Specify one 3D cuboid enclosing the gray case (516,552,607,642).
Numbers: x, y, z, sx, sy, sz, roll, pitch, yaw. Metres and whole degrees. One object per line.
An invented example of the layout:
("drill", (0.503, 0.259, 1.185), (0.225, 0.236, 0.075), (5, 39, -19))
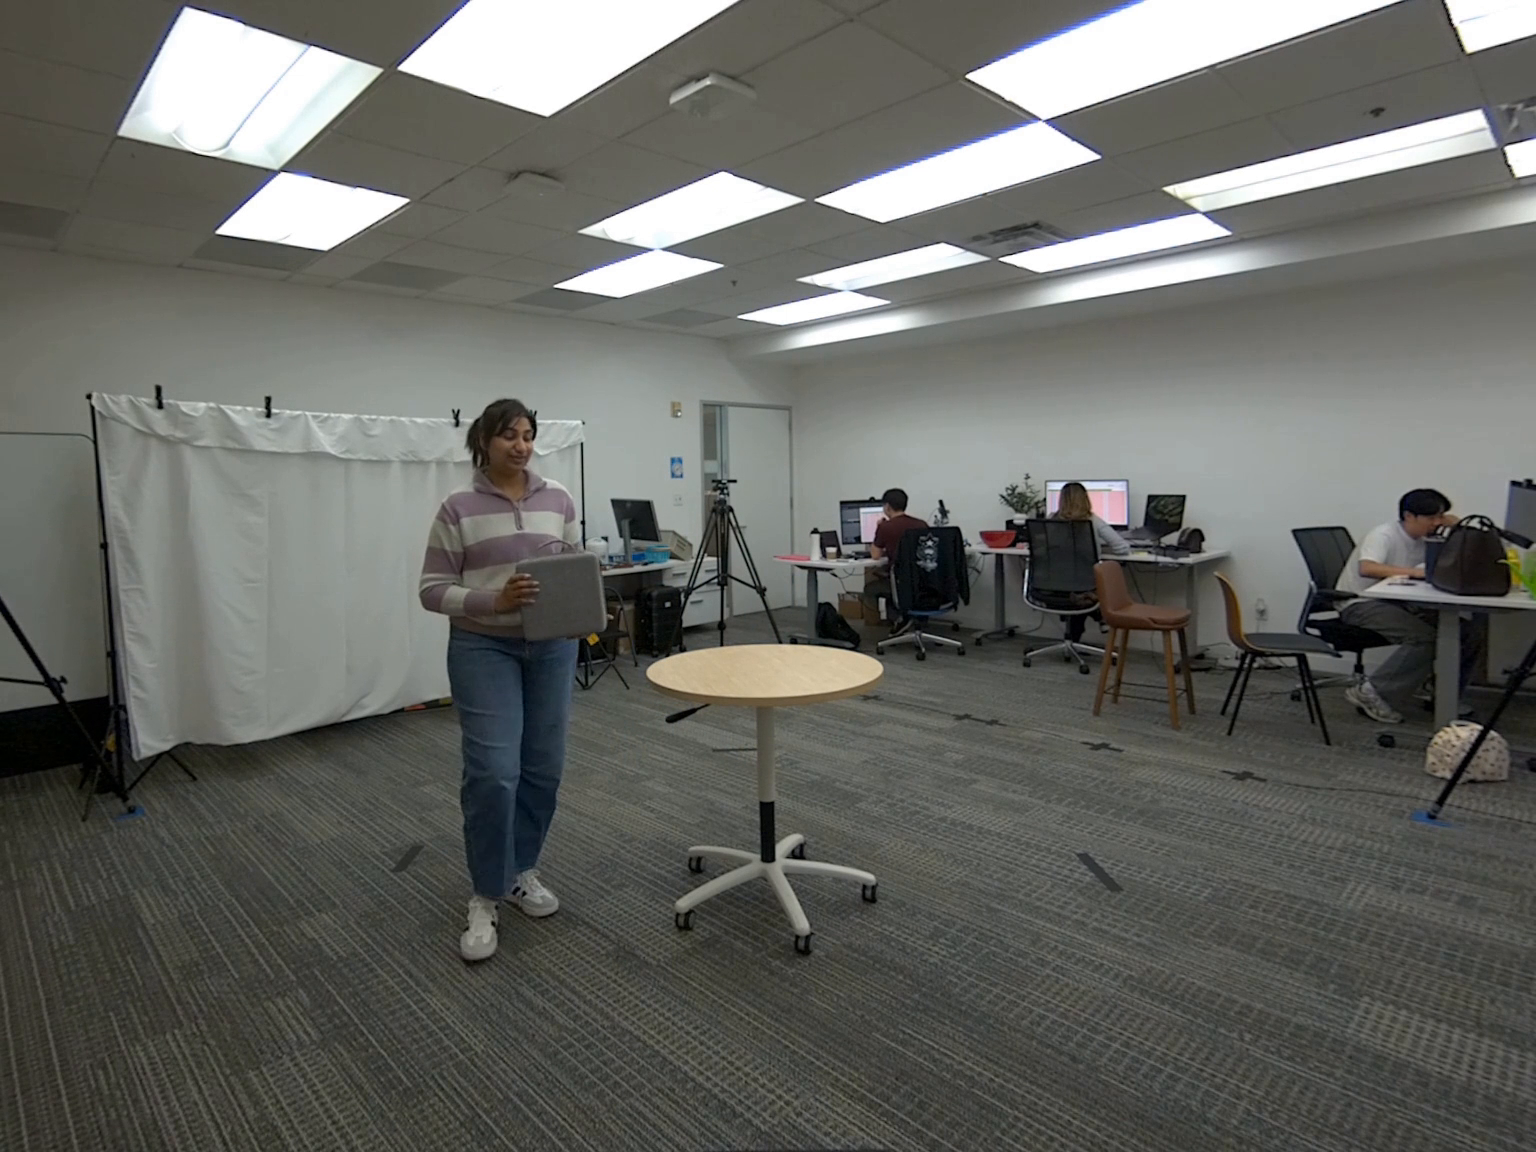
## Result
("gray case", (-0.633, 0.057, 2.603), (0.256, 0.260, 0.105), (-8, 3, -4))
